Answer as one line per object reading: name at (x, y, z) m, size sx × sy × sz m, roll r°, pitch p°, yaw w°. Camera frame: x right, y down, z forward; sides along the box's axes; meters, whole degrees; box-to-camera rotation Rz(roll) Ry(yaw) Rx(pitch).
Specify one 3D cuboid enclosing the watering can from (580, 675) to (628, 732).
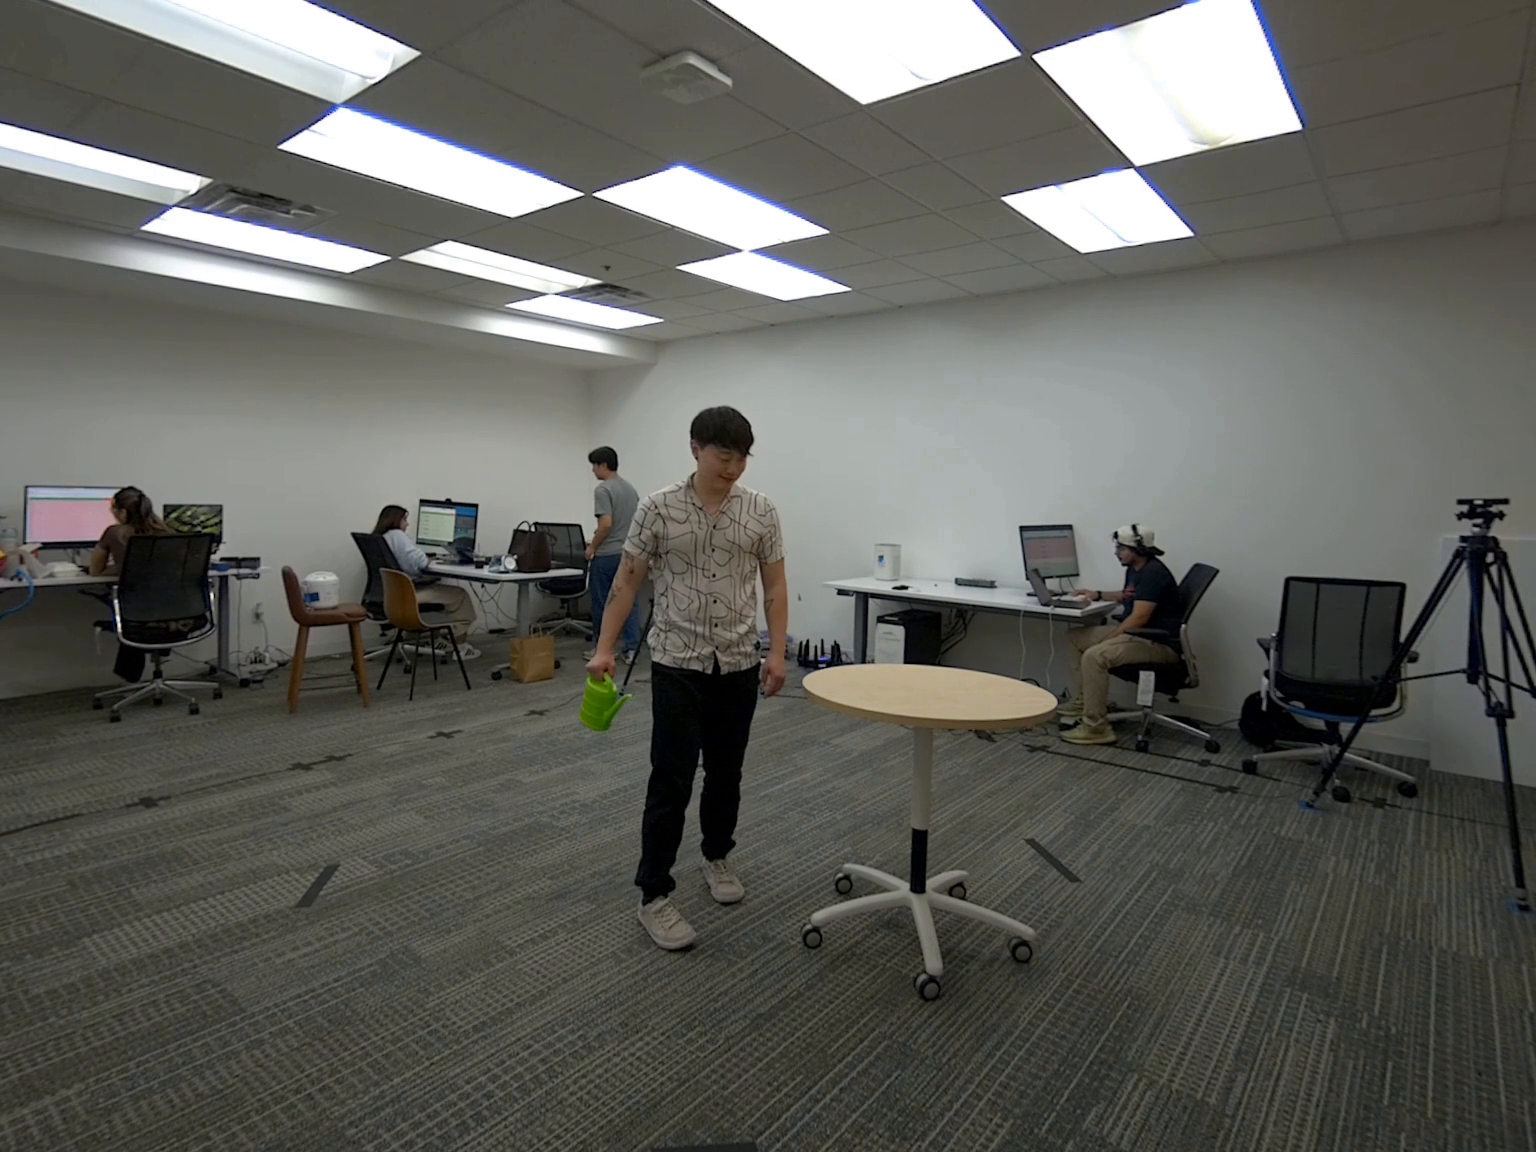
watering can at (-0.511, 0.390, 2.671) m, size 0.095 × 0.175 × 0.287 m, roll 5°, pitch 11°, yaw -24°
